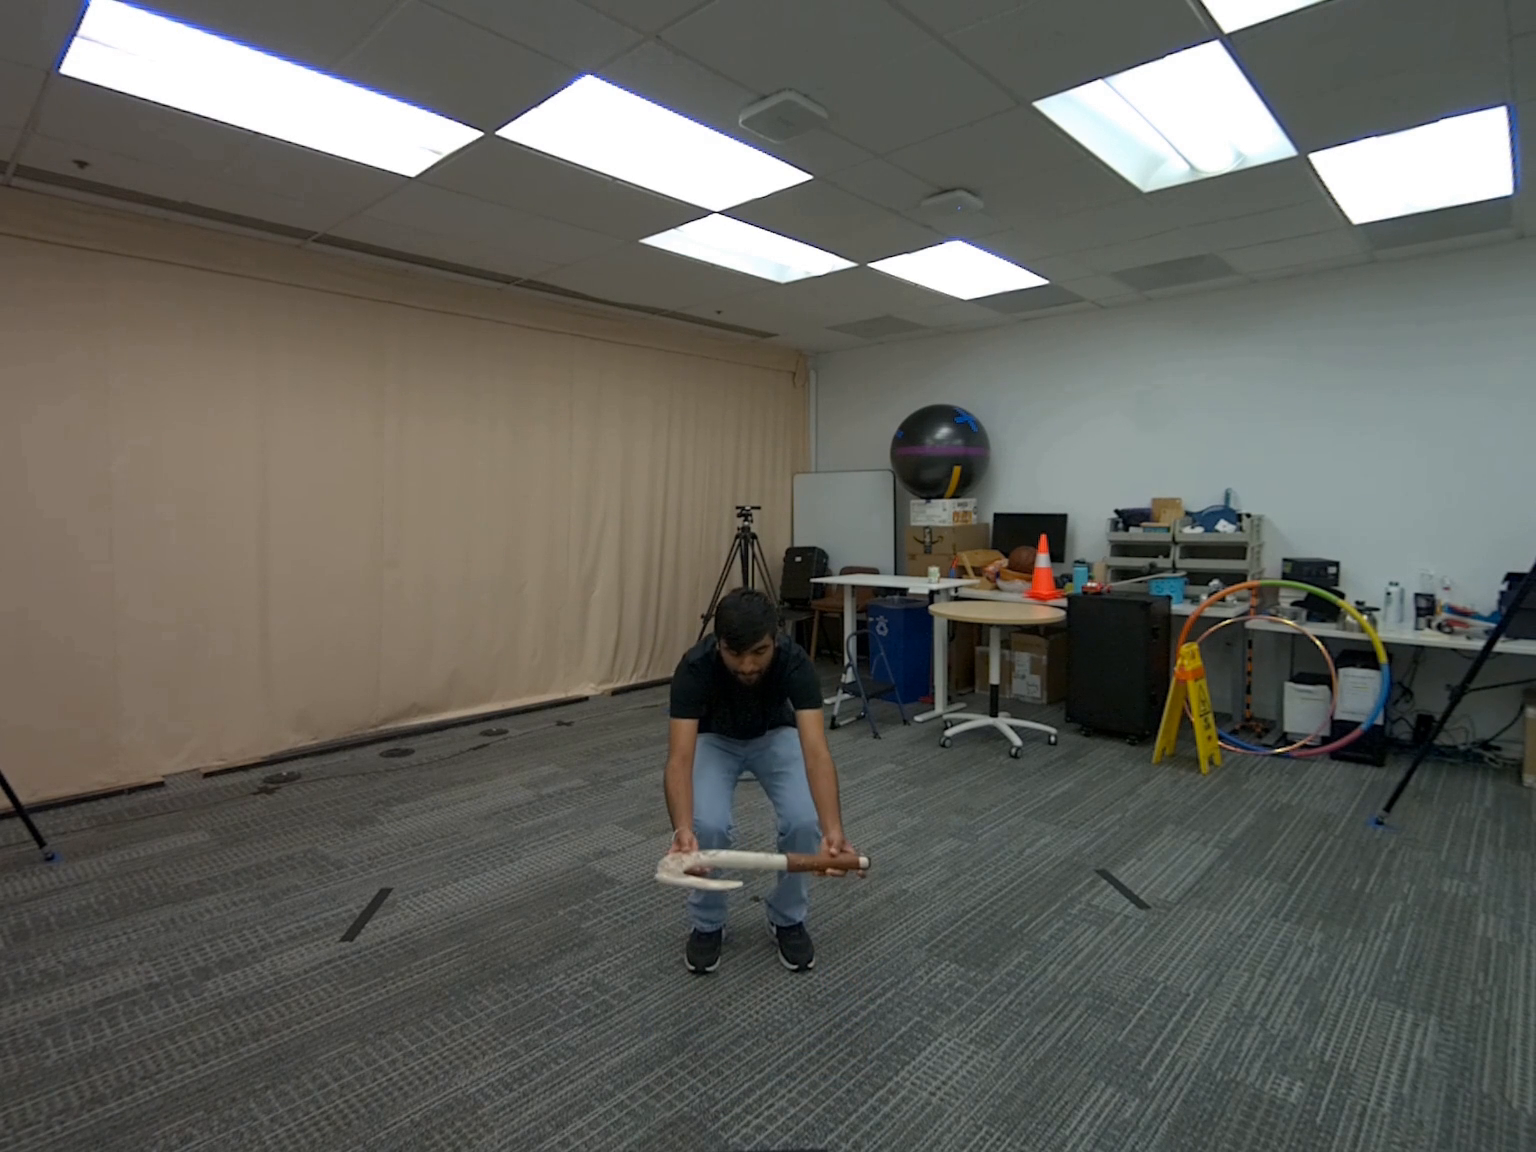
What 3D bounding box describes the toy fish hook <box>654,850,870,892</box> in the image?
[{"bbox_3d":[0.000,0.685,1.951,0.506,0.048,0.225,0,4,-2],"label":"toy fish hook"}]
